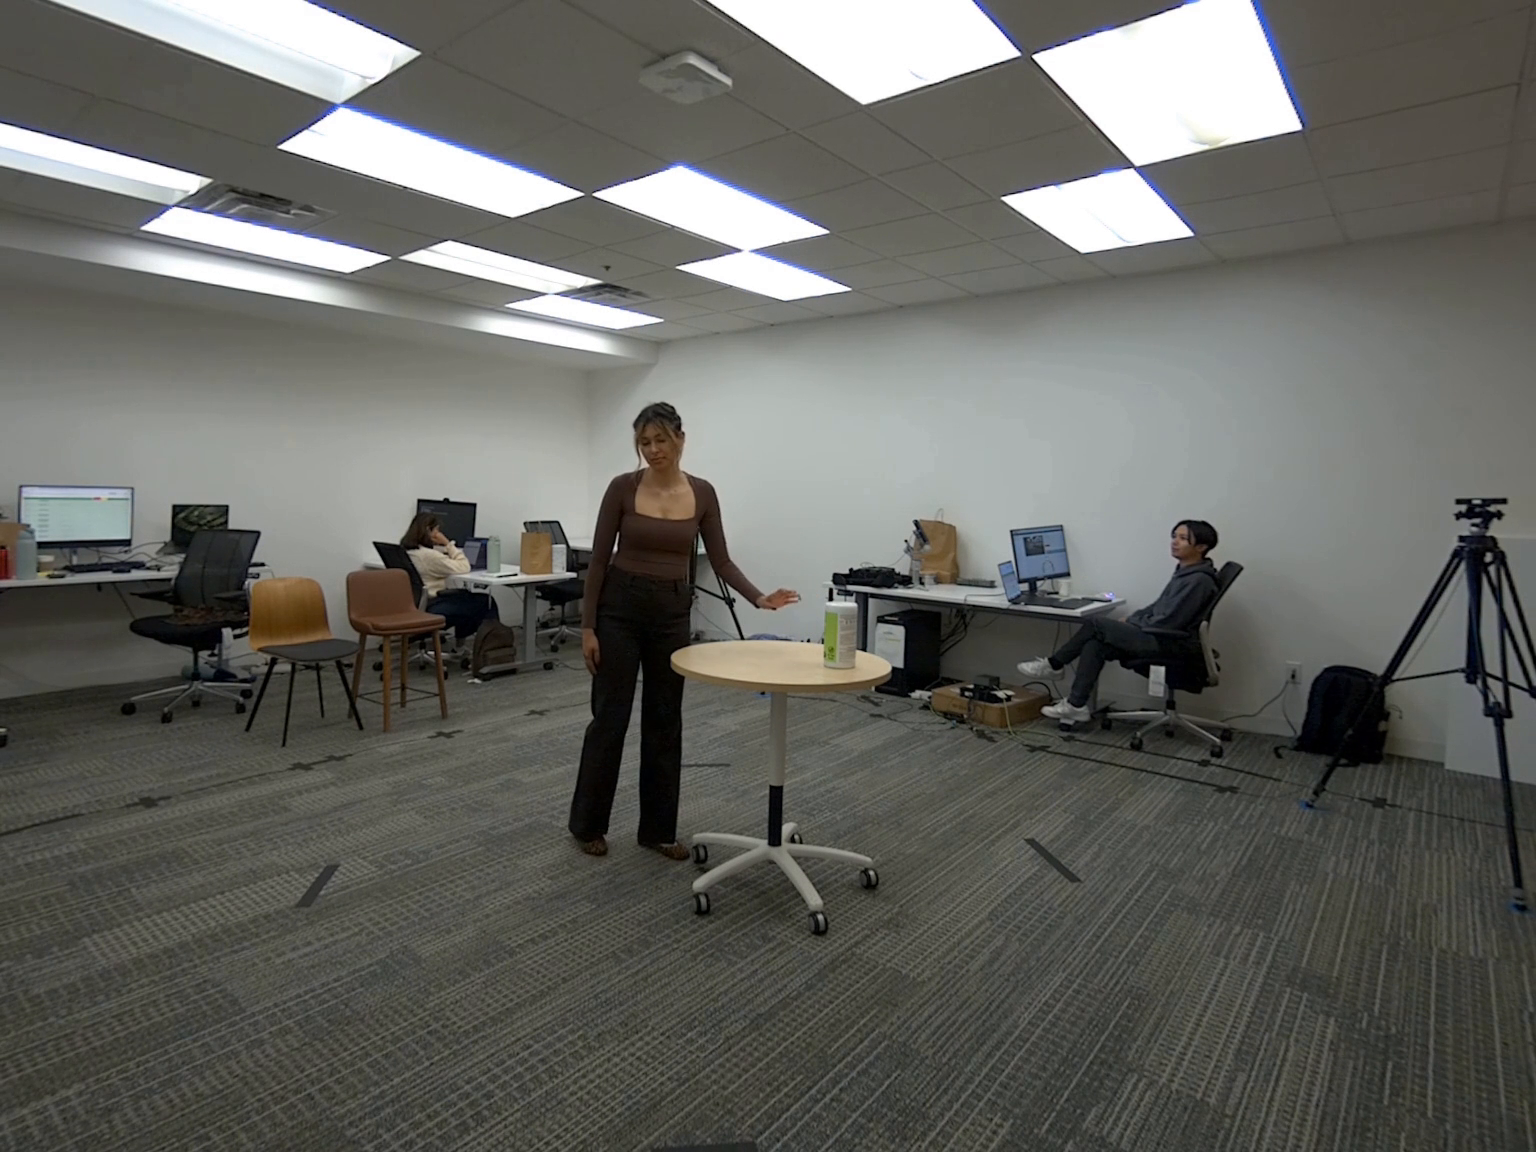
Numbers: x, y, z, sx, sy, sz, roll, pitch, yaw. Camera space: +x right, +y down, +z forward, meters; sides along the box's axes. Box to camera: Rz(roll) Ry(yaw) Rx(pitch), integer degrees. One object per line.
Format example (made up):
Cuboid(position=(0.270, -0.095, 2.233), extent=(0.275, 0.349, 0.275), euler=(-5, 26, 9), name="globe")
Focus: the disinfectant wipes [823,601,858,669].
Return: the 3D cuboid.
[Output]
Cuboid(position=(0.242, 0.196, 2.887), extent=(0.118, 0.217, 0.118), euler=(1, 4, -2), name="disinfectant wipes")
